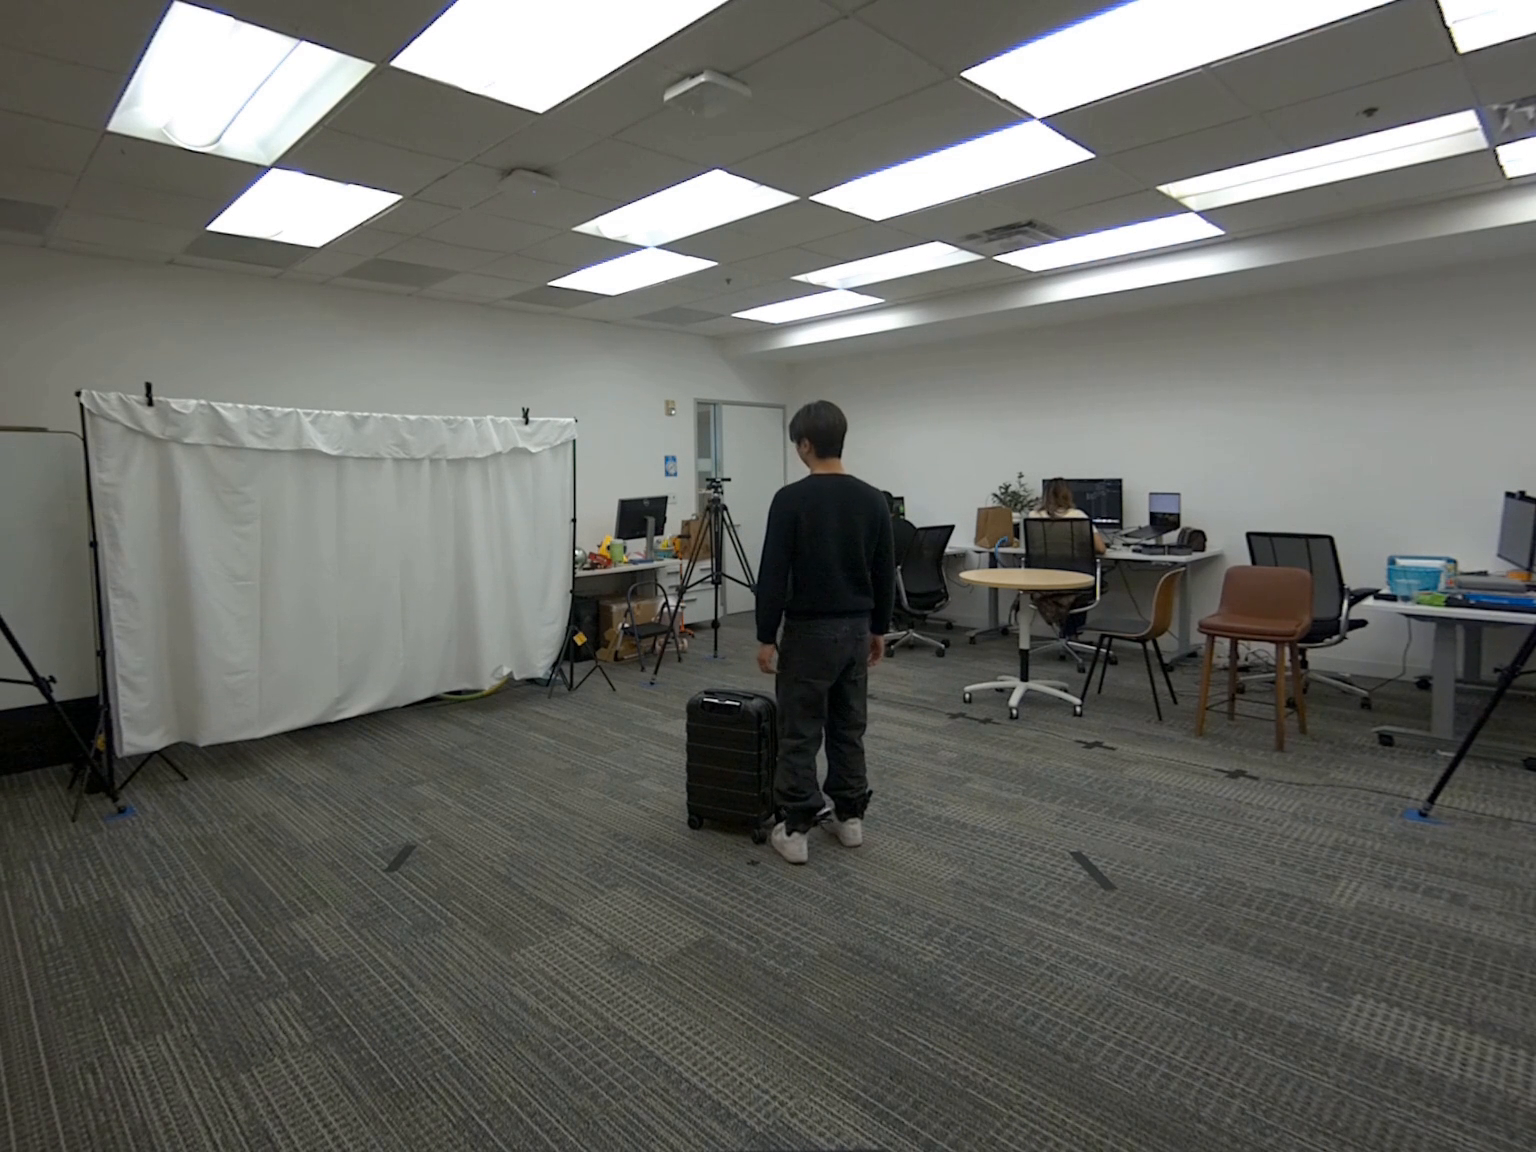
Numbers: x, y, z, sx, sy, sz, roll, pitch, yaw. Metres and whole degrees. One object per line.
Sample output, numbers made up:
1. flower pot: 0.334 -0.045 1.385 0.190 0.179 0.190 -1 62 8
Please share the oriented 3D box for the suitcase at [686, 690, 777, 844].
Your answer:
1. suitcase: -0.136 0.731 3.448 0.384 0.548 0.243 1 3 26
